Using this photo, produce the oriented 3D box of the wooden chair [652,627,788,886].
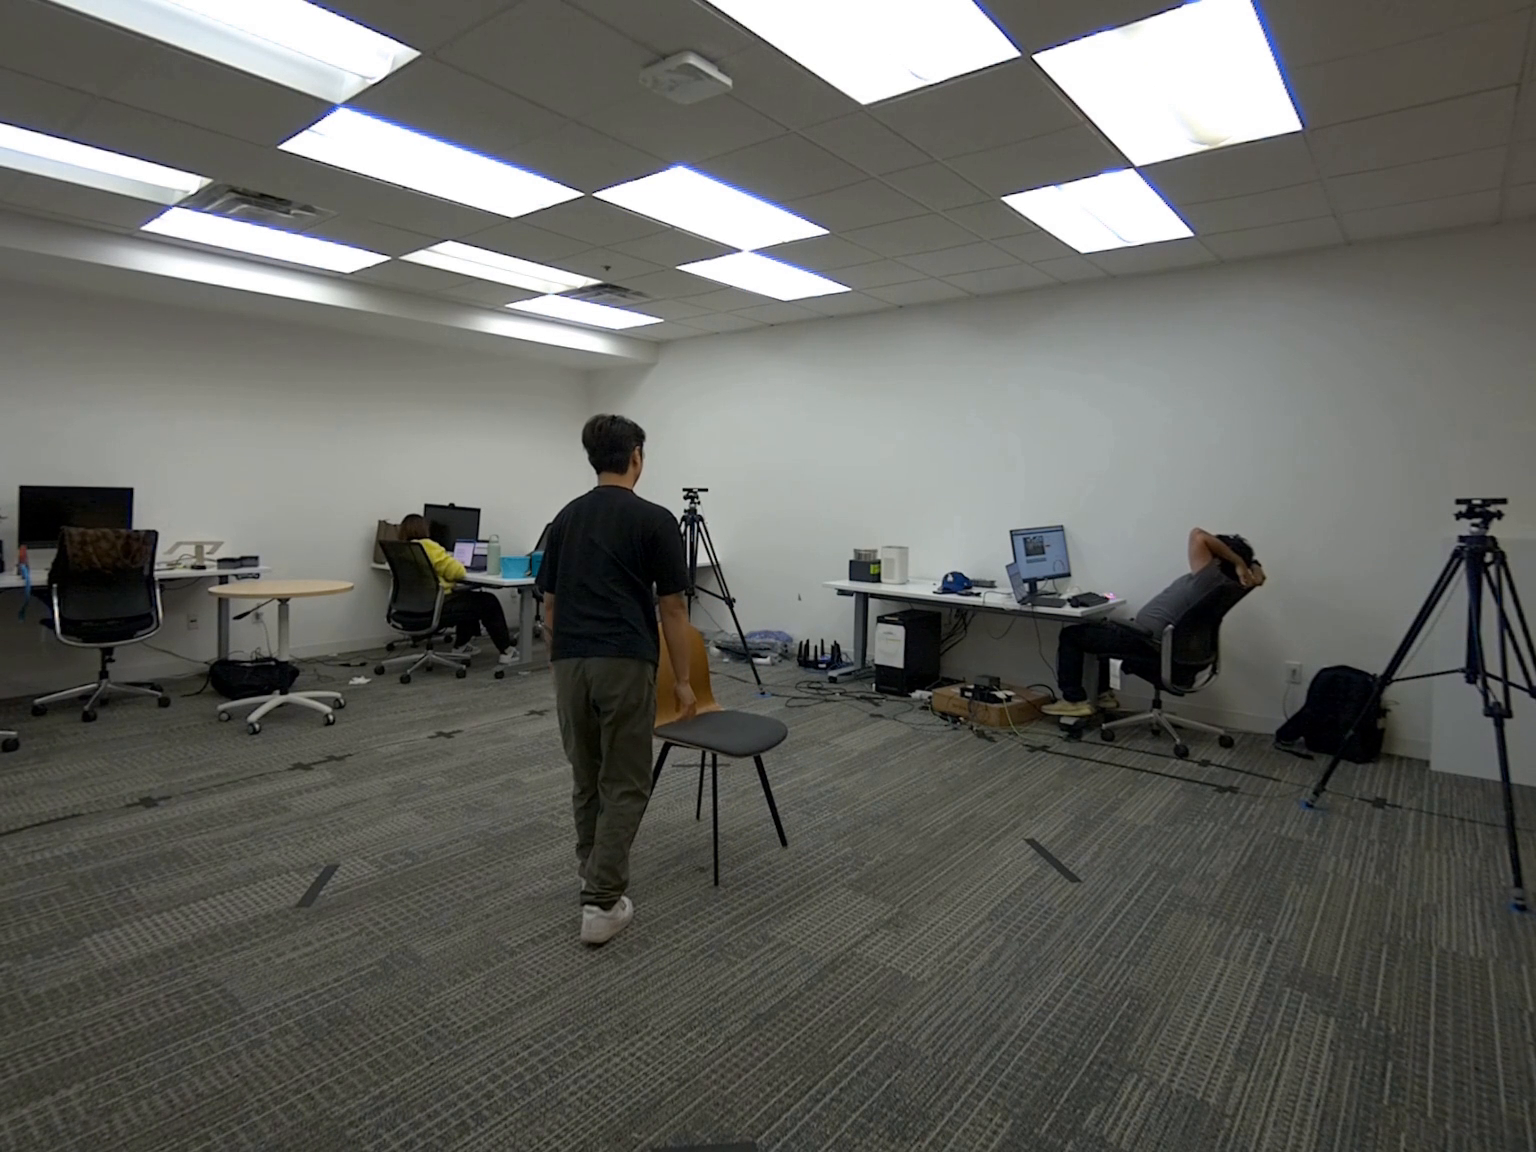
[{"bbox_3d":[-0.225,0.624,3.254,0.539,0.877,0.464,-2,0,36],"label":"wooden chair"}]
